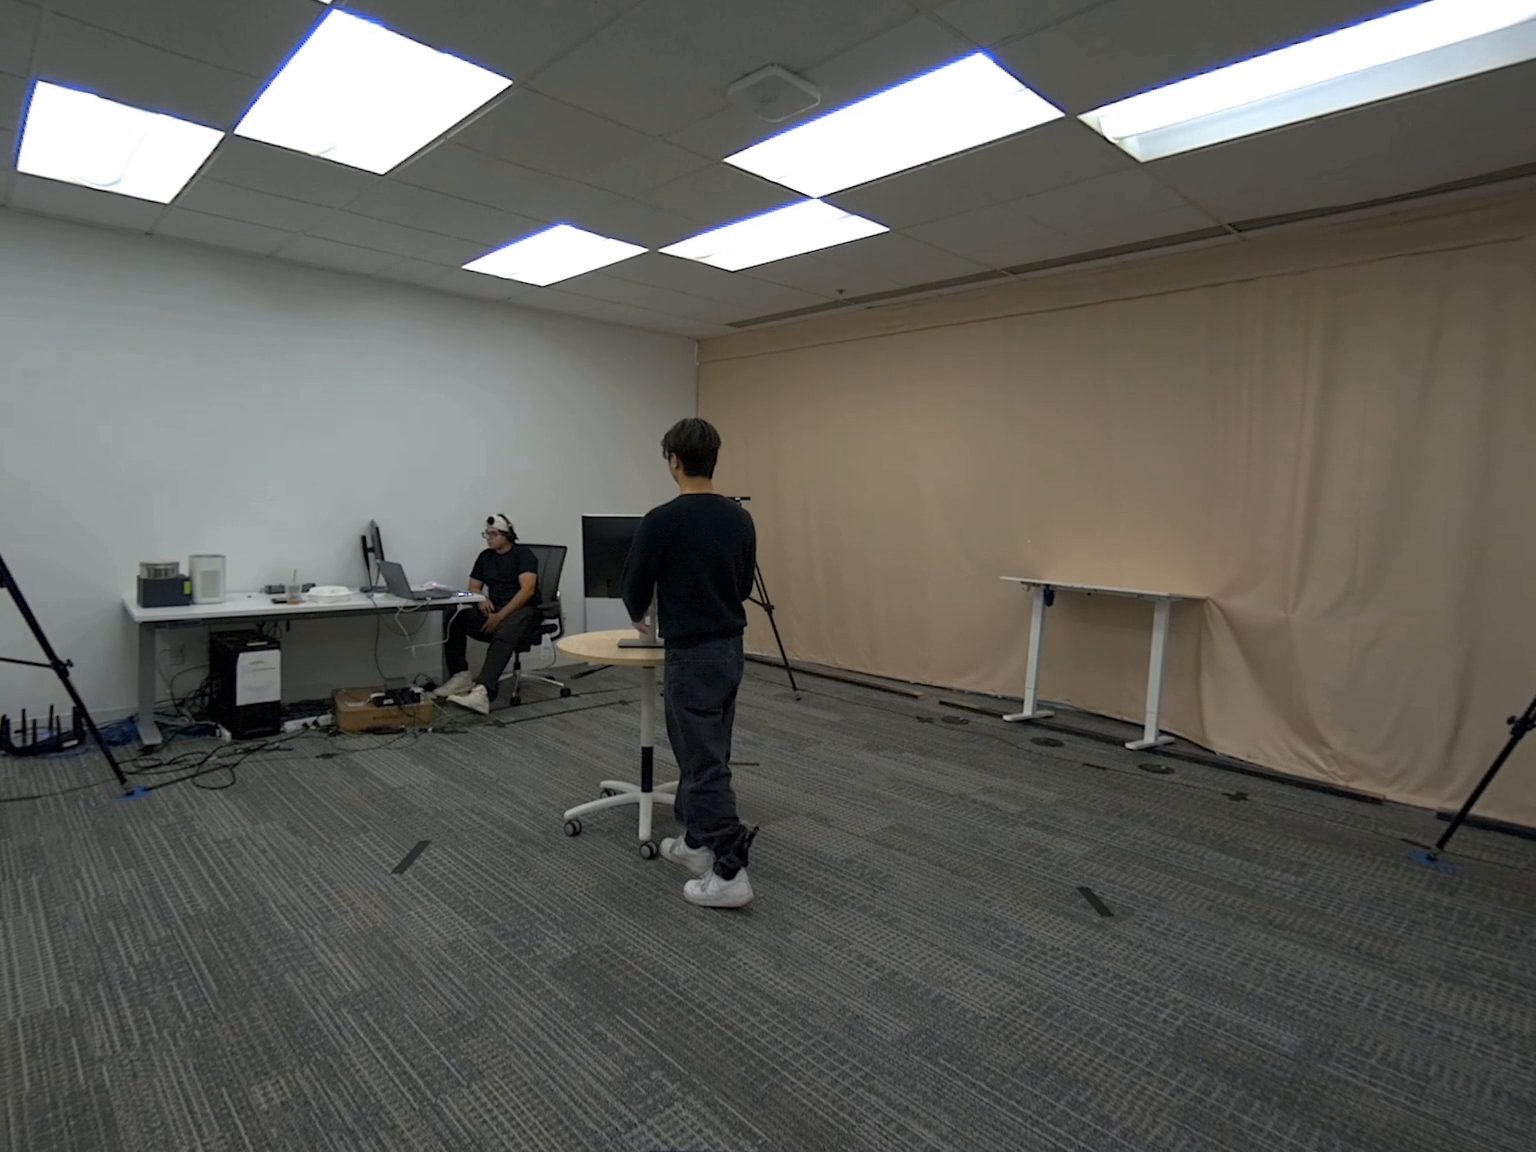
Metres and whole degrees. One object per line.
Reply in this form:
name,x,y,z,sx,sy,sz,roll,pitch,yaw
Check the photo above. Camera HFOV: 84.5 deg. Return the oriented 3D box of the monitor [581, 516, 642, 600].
monitor,-0.495,0.020,3.496,0.528,0.516,0.175,0,-1,-3
